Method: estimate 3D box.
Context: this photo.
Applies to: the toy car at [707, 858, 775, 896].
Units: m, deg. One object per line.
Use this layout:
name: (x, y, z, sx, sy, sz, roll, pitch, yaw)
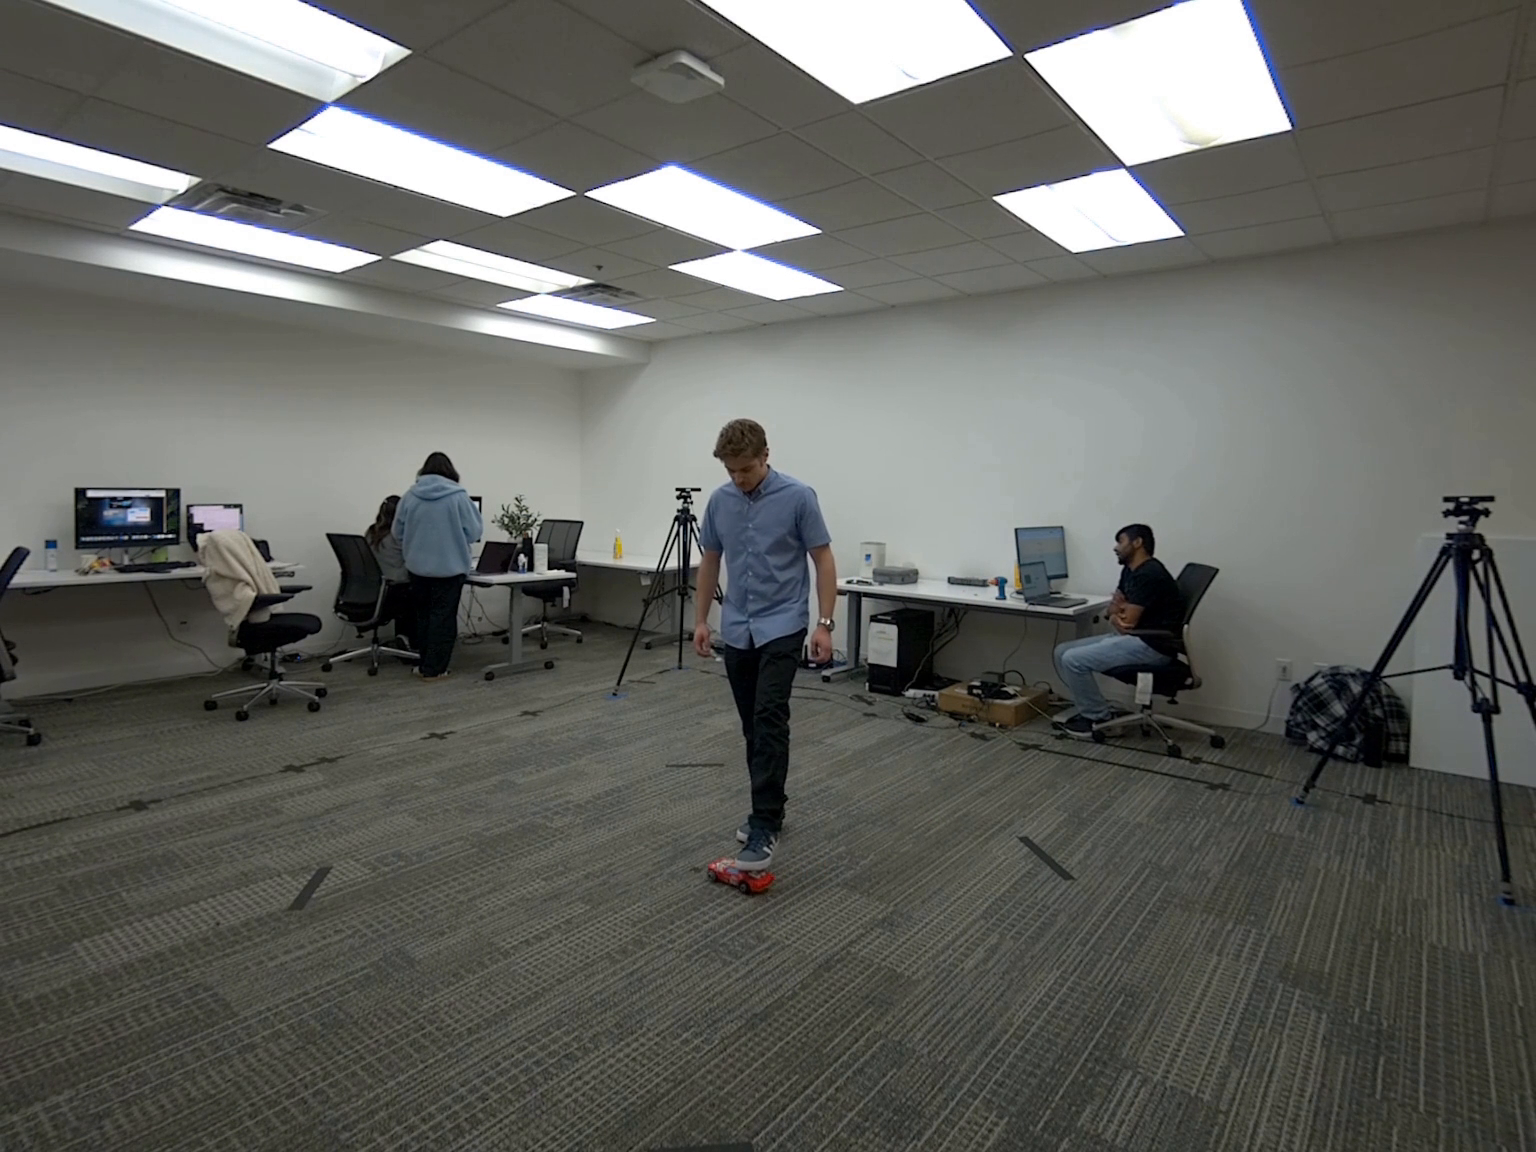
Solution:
toy car: (-0.101, 1.051, 2.998, 0.261, 0.083, 0.126, -7, -1, 39)
